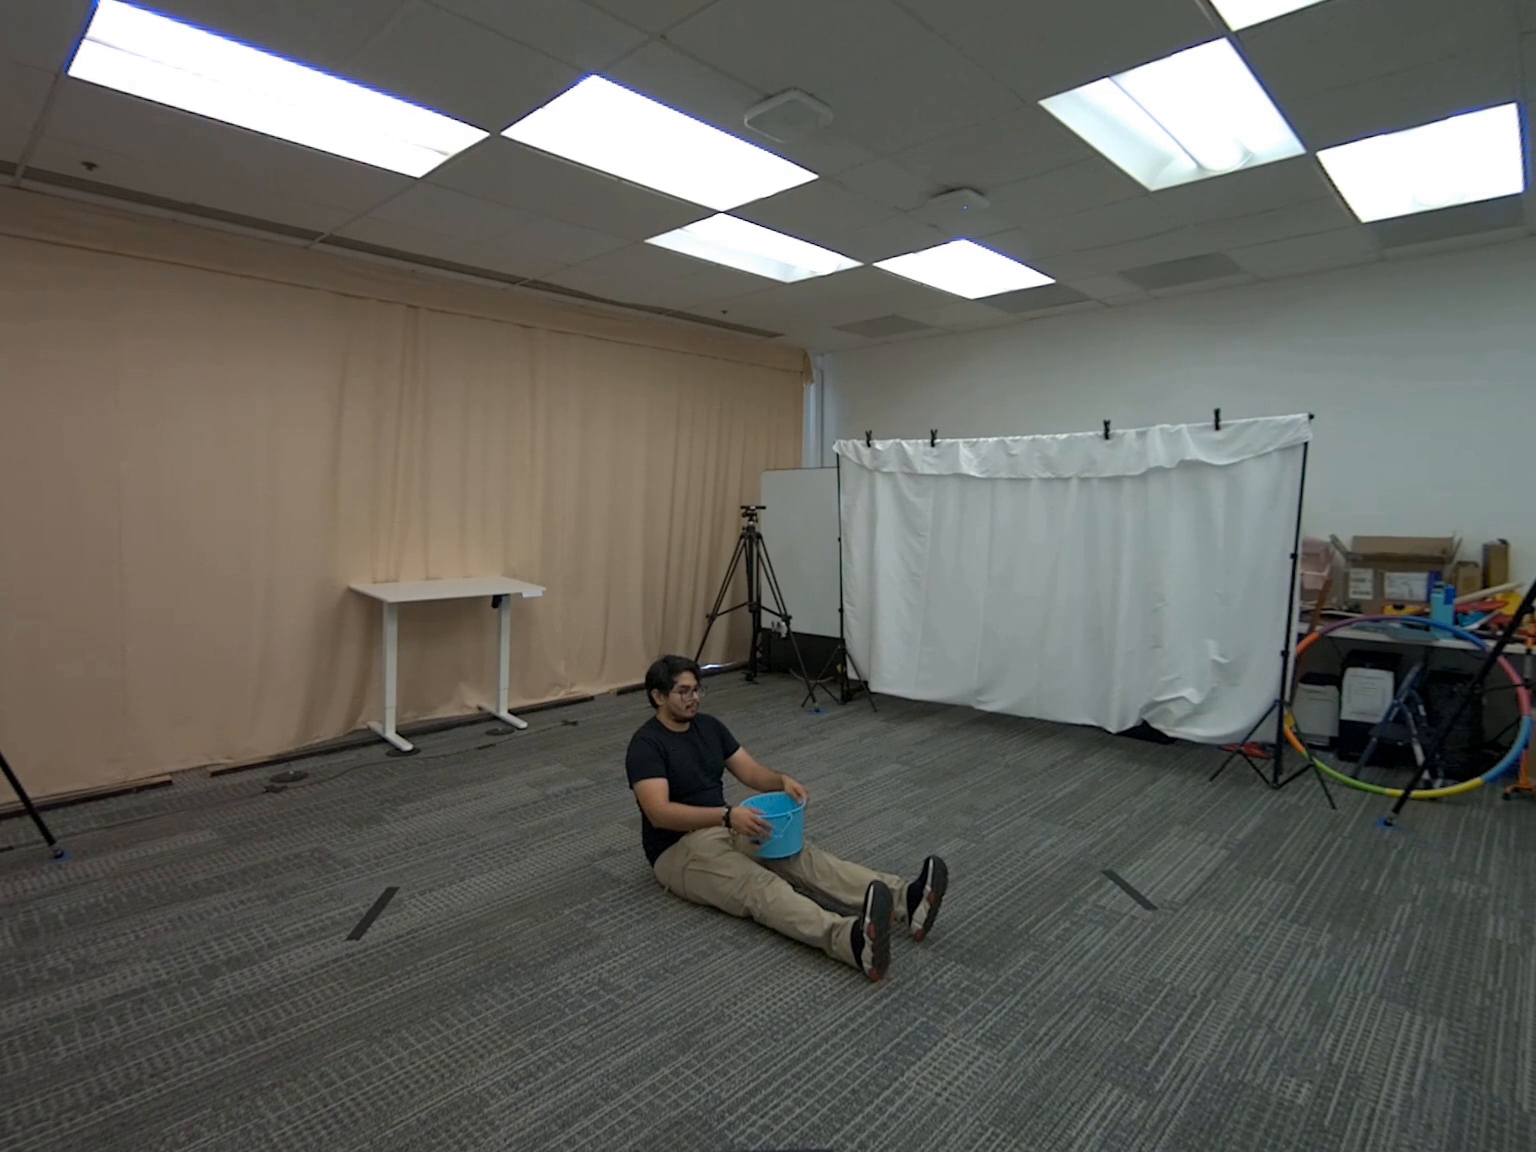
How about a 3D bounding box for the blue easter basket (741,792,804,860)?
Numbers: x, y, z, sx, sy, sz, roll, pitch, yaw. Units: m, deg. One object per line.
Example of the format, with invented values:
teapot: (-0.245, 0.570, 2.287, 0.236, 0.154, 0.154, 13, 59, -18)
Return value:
blue easter basket: (0.020, 0.875, 2.938, 0.243, 0.155, 0.244, -6, 4, -2)
